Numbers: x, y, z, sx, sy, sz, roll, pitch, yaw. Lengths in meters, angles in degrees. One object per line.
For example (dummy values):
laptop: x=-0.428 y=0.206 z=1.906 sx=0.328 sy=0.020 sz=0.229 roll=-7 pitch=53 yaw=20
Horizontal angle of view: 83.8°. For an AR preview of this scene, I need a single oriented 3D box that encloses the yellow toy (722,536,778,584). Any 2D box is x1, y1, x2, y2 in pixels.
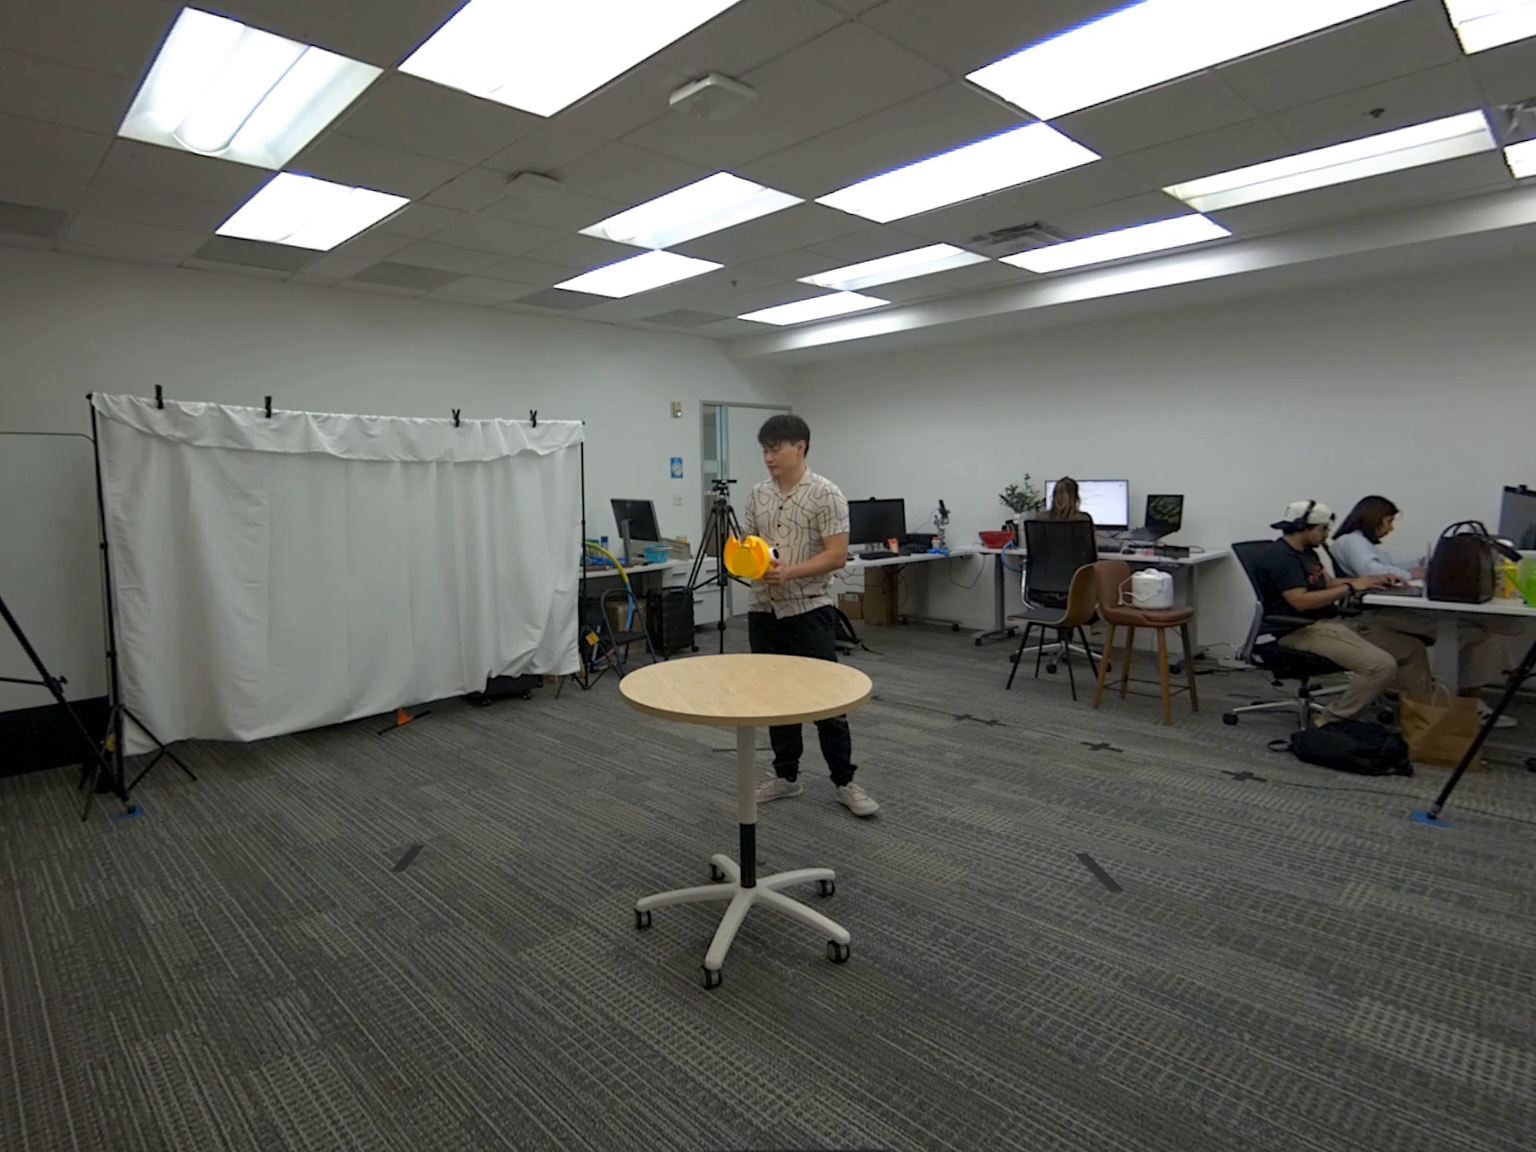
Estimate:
yellow toy: x=-0.031 y=-0.085 z=3.509 sx=0.211 sy=0.190 sz=0.226 roll=12 pitch=18 yaw=35
